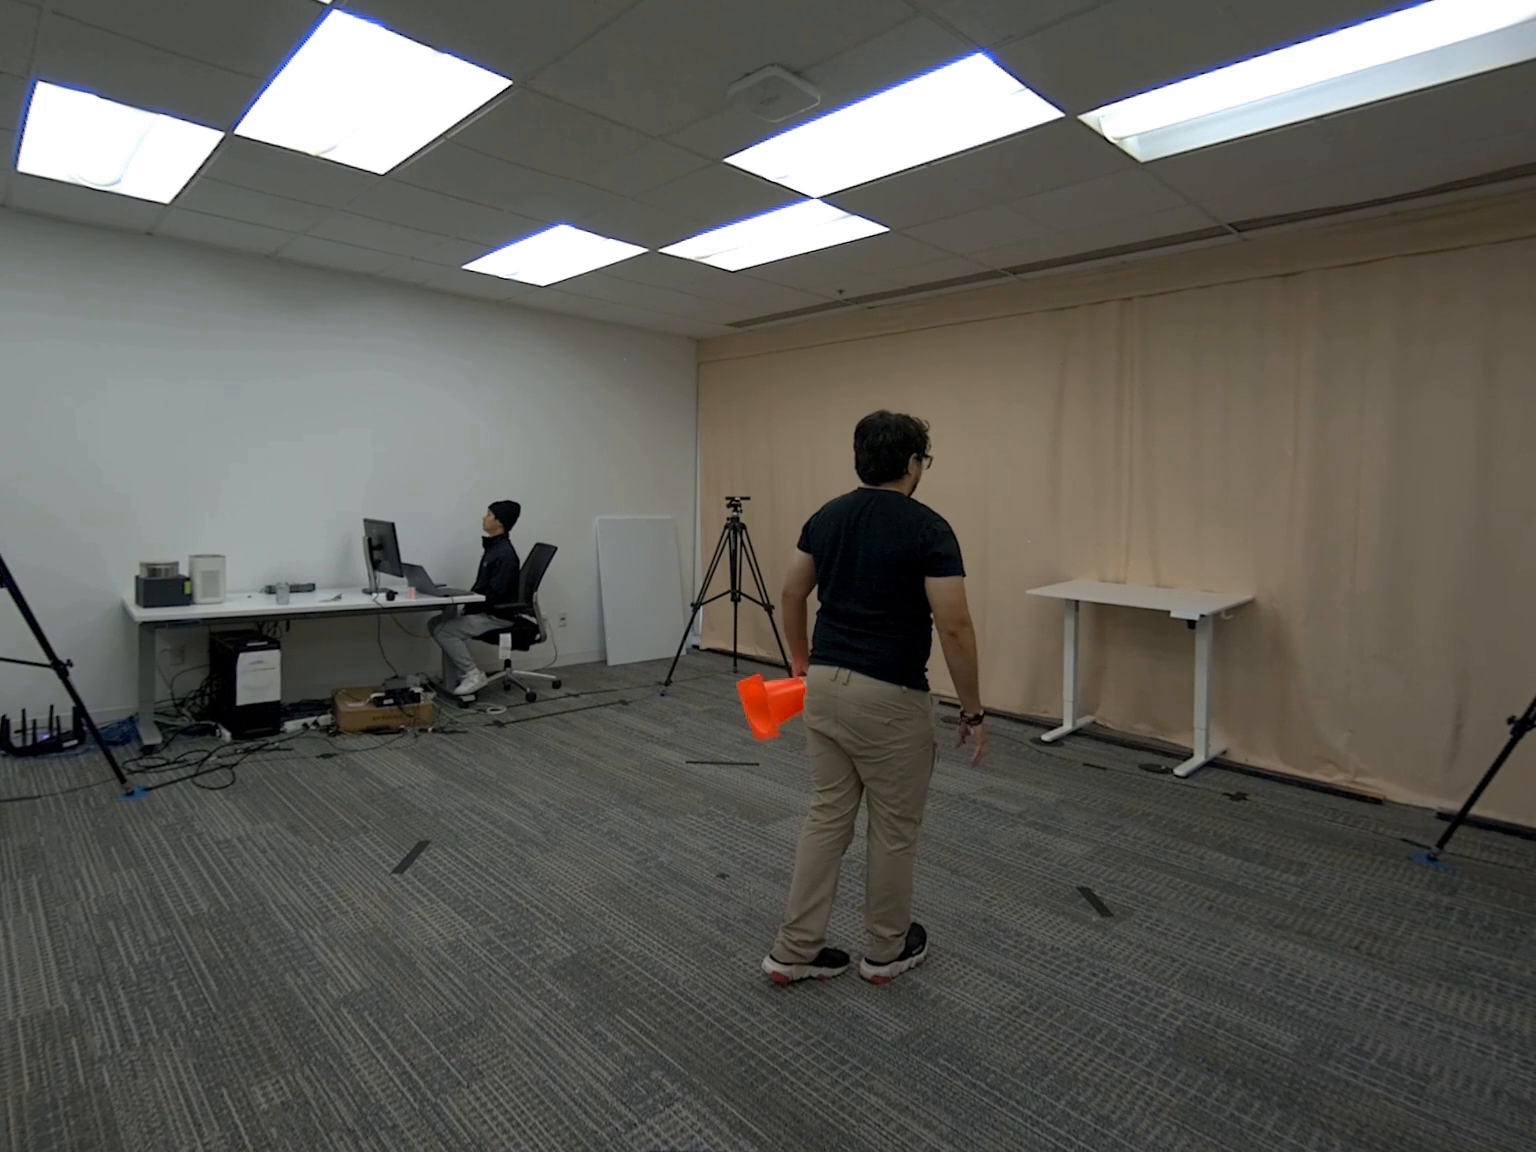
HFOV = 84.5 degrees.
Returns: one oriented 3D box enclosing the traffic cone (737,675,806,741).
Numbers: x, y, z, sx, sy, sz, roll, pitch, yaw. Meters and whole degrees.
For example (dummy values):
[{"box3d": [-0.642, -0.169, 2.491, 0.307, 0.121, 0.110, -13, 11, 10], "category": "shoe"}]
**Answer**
[{"box3d": [0.130, 0.380, 2.740, 0.378, 0.205, 0.206, -13, -10, -27], "category": "traffic cone"}]
